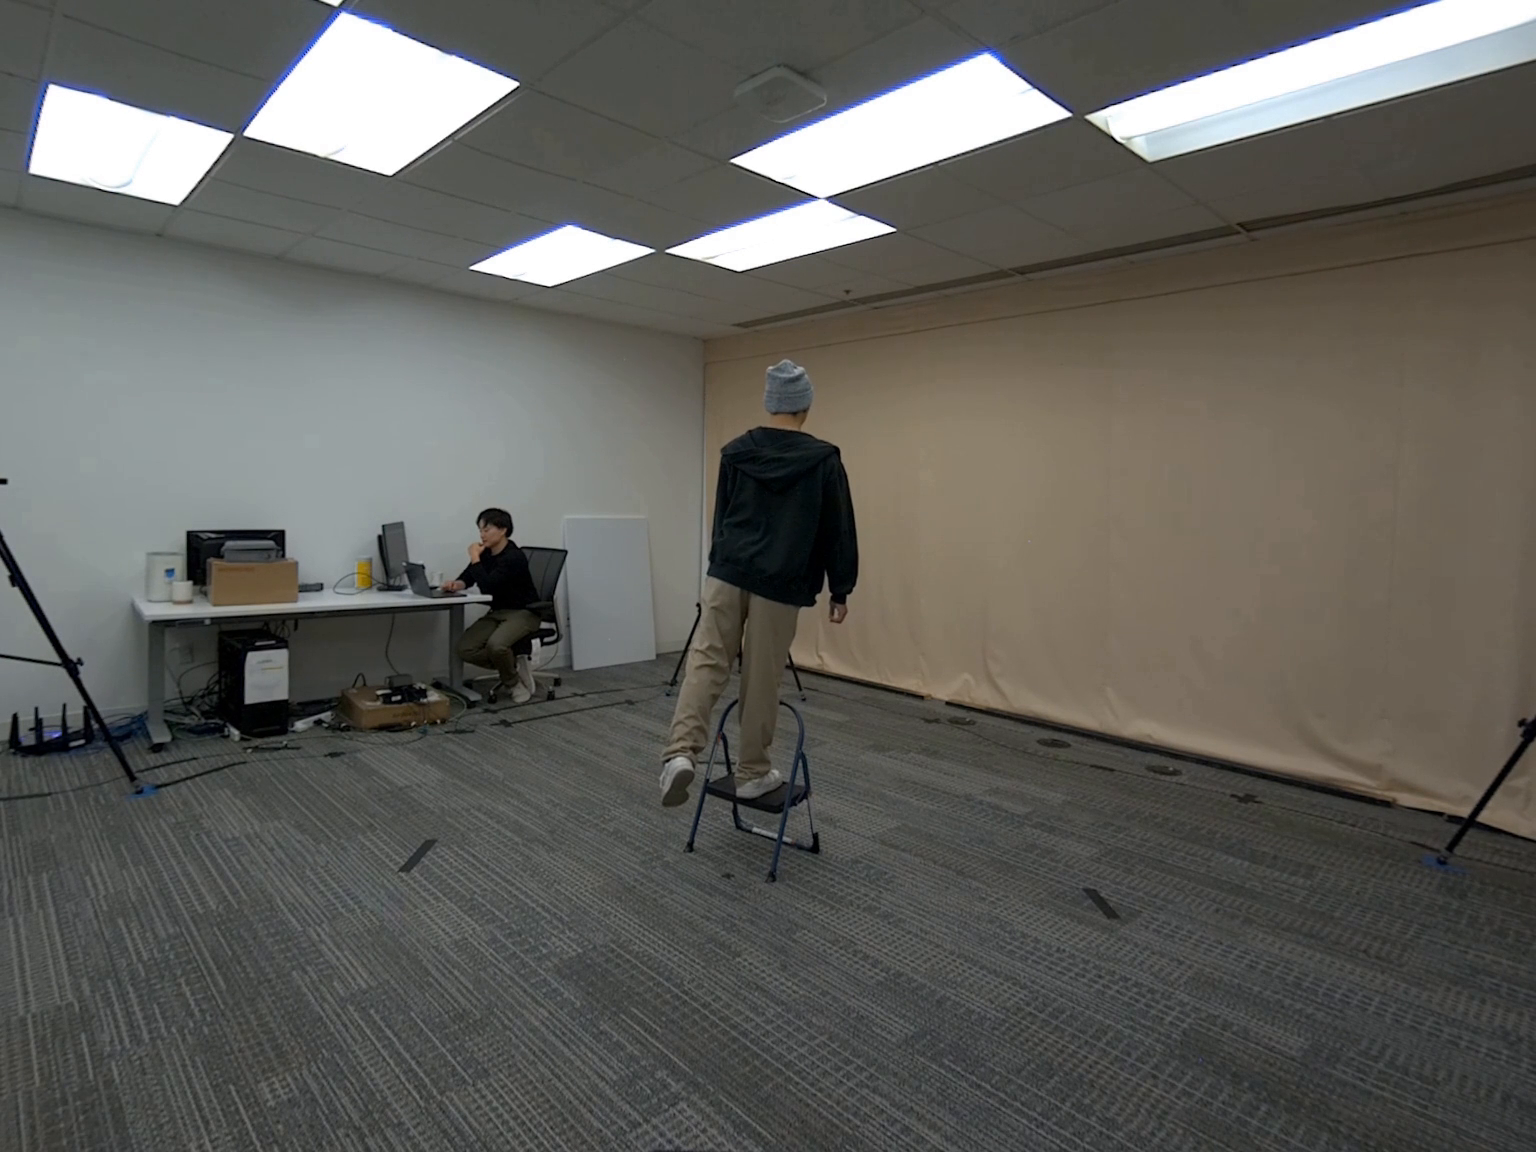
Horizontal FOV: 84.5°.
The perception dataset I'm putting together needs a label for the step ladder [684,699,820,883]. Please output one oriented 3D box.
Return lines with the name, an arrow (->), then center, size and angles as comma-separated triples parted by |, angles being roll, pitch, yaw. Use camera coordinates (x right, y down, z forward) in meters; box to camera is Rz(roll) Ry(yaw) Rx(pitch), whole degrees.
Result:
step ladder -> -0.056, 0.789, 3.308 | 0.441, 0.605, 0.341 | 4, 4, 36
